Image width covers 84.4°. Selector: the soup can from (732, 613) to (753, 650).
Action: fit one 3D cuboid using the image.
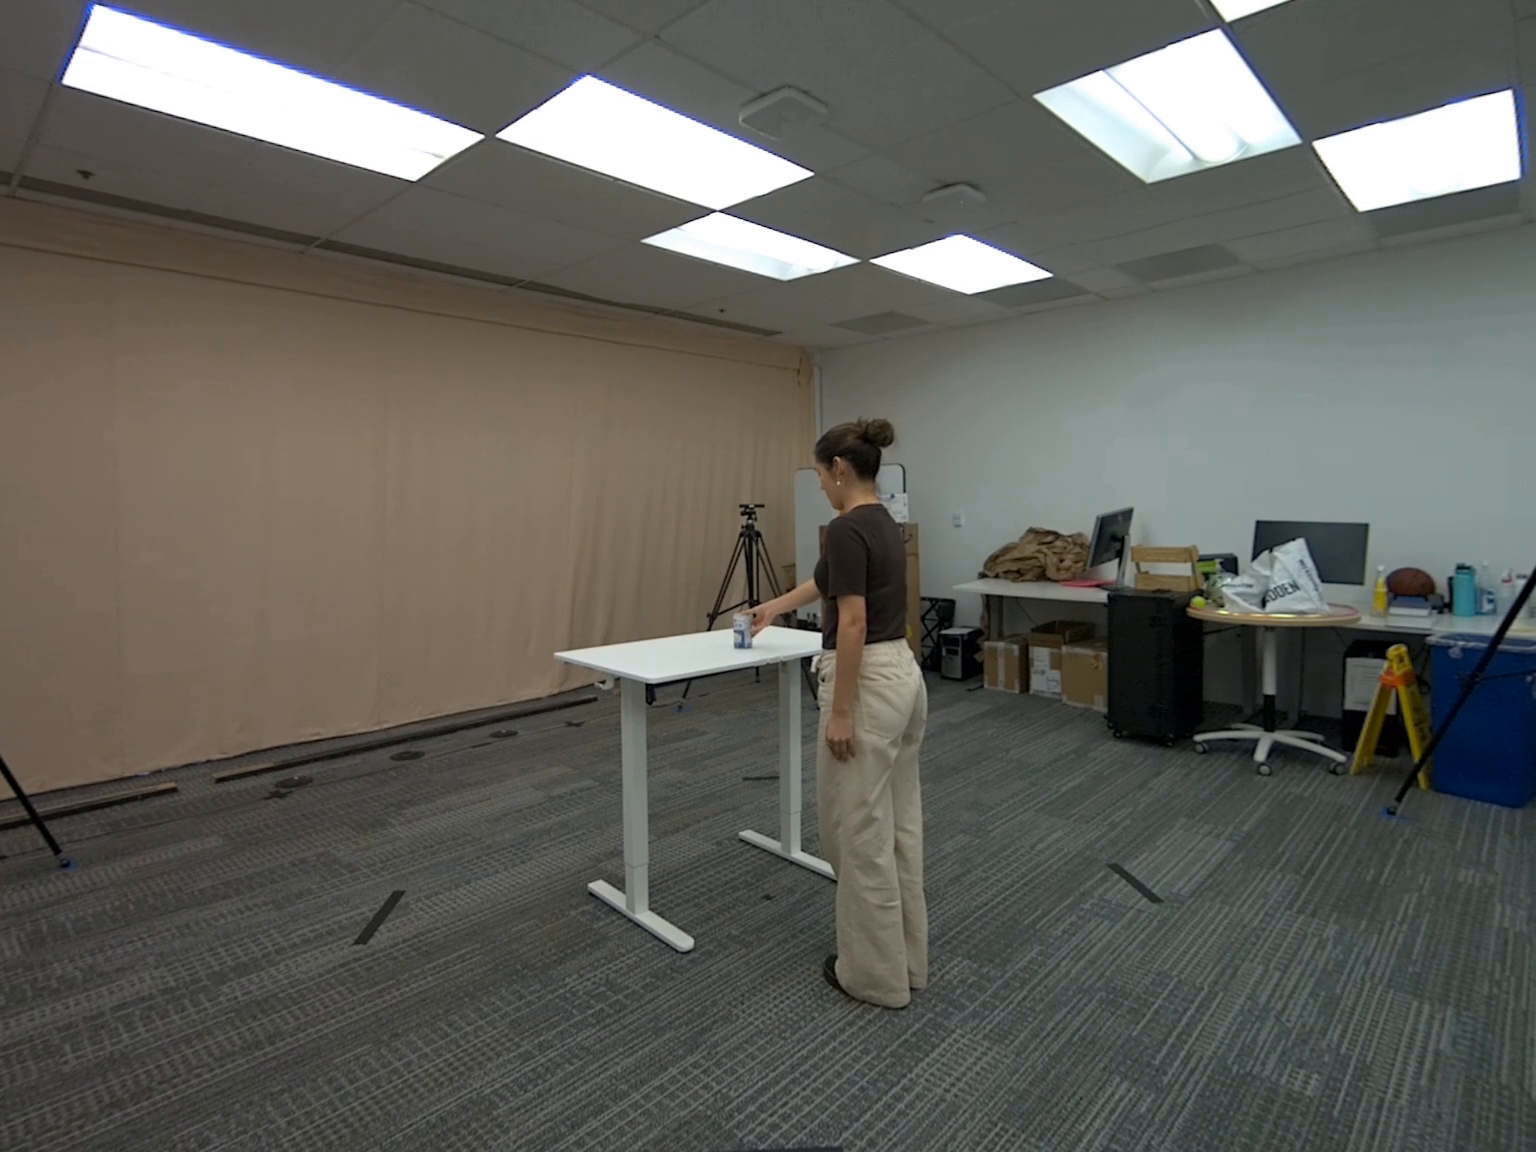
[{"bbox_3d":[-0.089,0.189,2.995,0.067,0.121,0.067,-2,6,-2],"label":"soup can"}]
